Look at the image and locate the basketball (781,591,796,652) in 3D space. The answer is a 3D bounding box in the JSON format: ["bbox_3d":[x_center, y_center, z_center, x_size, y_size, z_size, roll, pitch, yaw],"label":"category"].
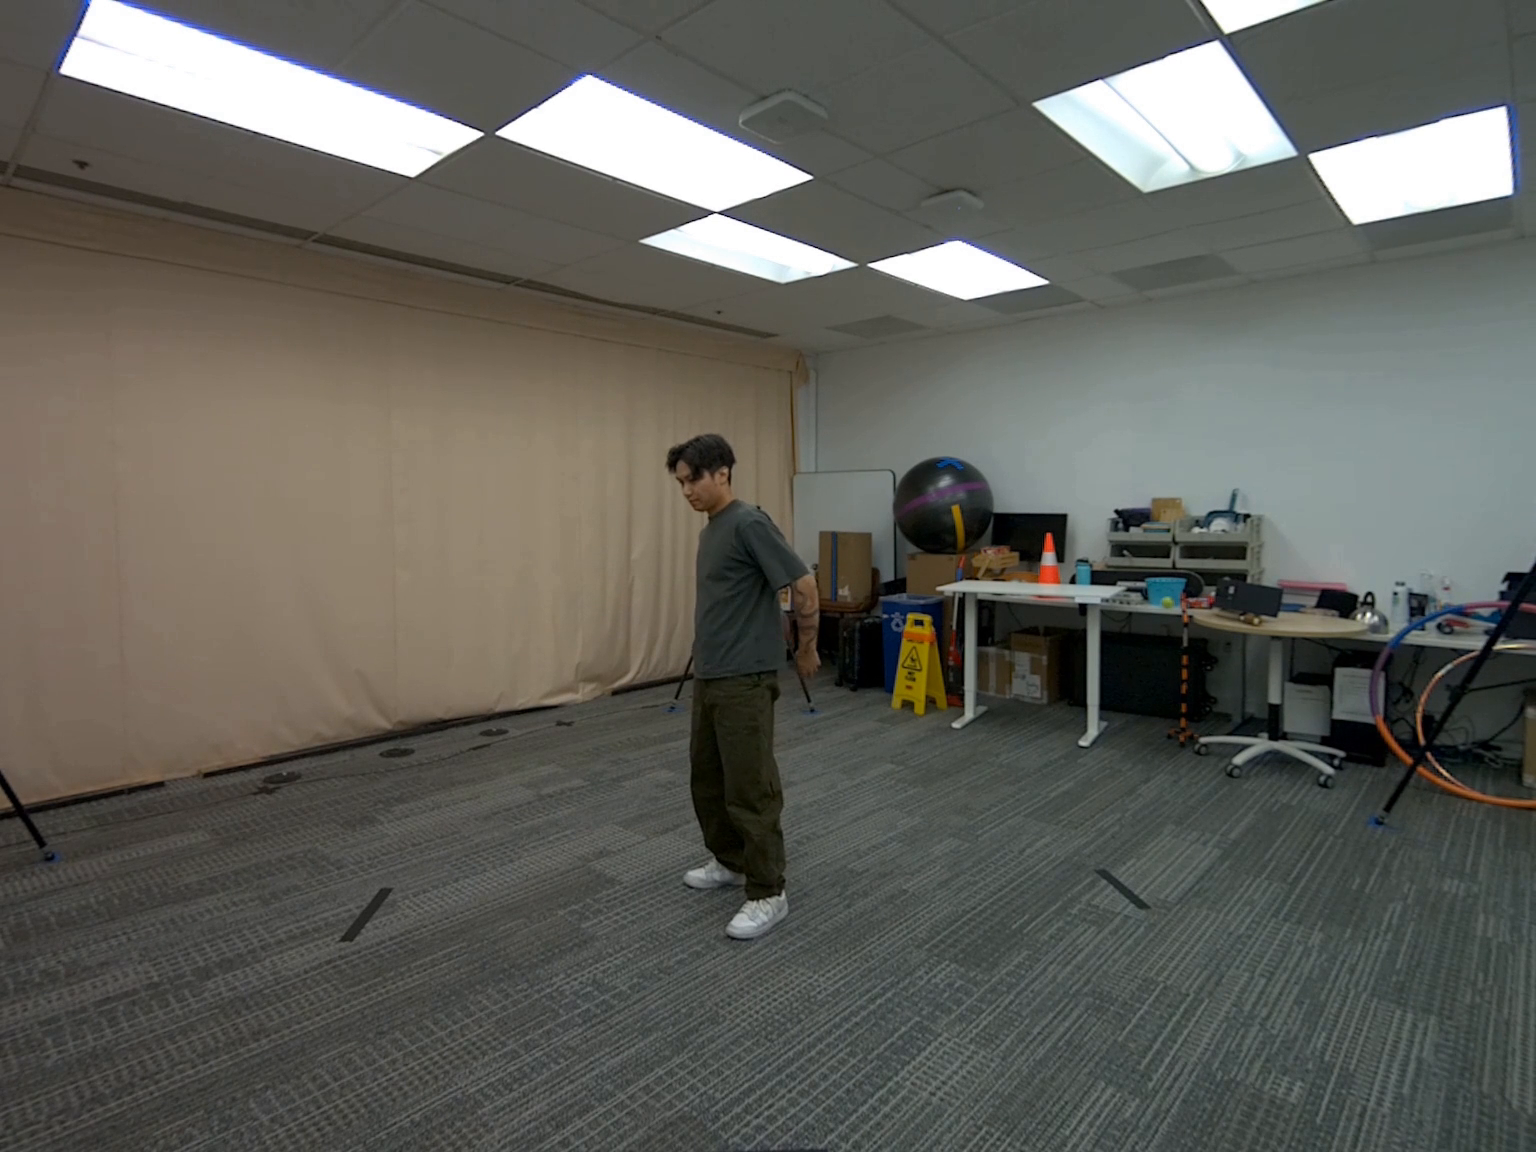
[{"bbox_3d":[-0.033,0.193,3.163,0.236,0.235,0.237,0,4,-2],"label":"basketball"}]
